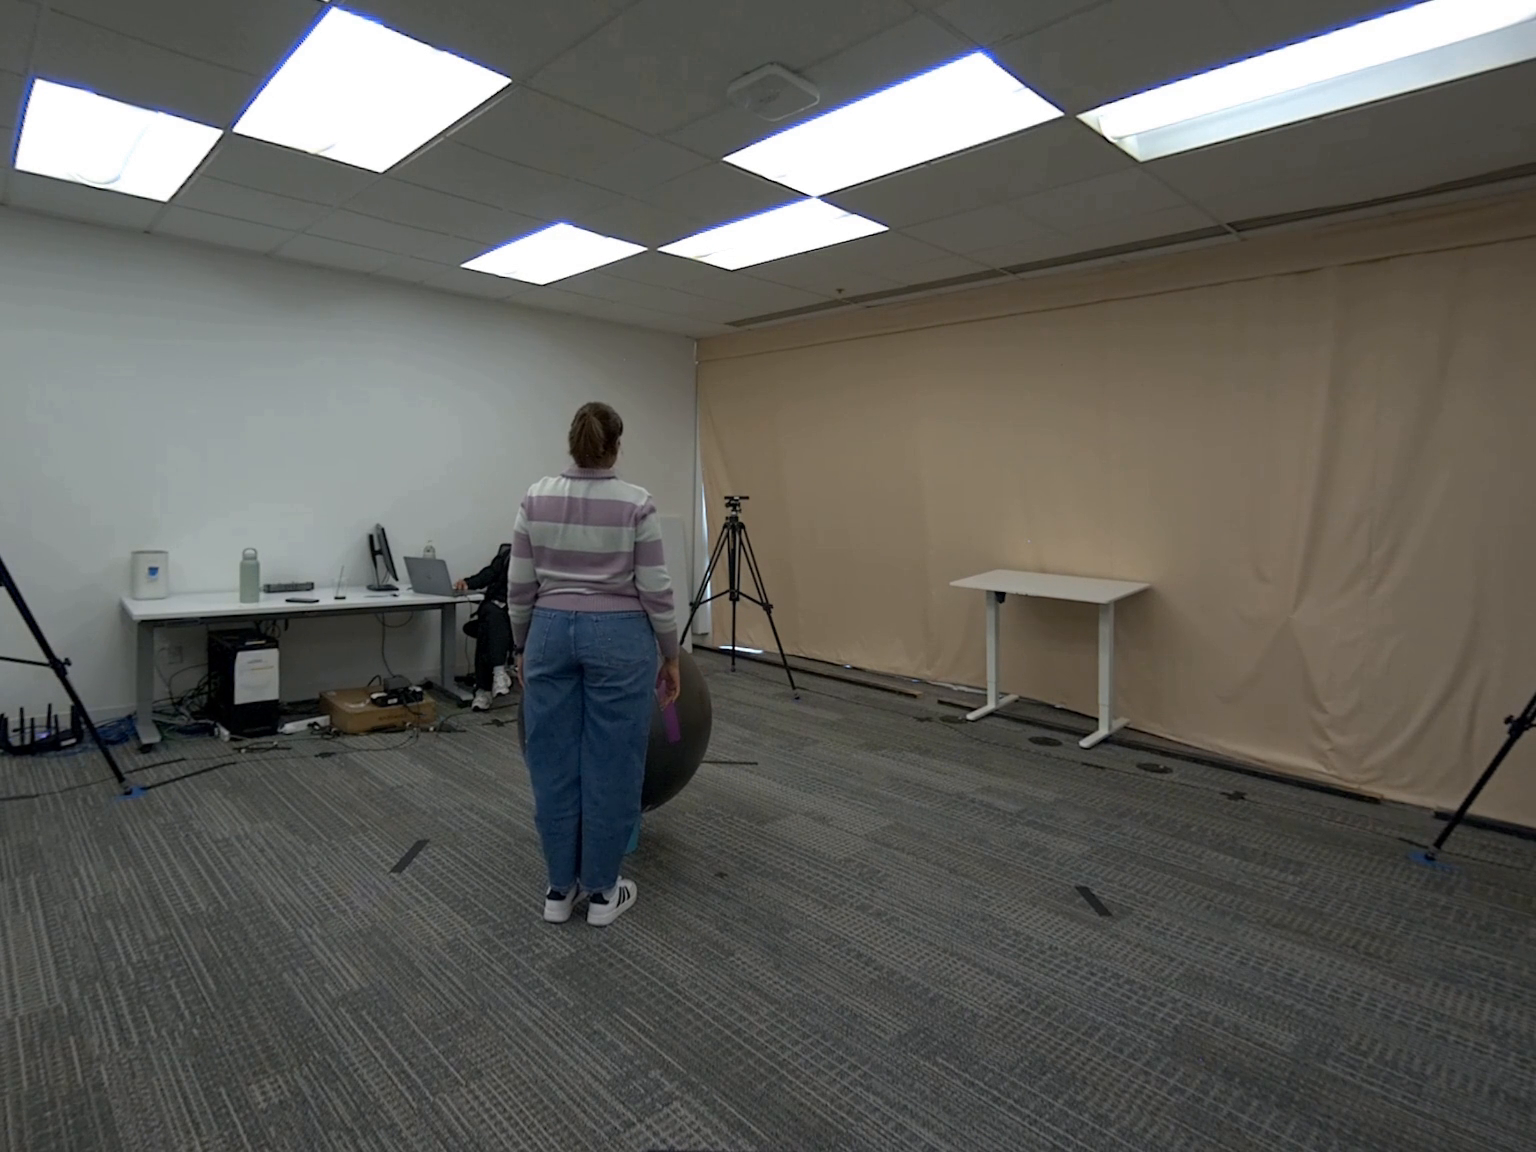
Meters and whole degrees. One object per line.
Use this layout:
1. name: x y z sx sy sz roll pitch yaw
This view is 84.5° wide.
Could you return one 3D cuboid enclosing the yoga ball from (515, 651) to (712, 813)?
1. yoga ball: -0.601 0.563 3.318 0.757 0.756 0.761 1 4 -1
